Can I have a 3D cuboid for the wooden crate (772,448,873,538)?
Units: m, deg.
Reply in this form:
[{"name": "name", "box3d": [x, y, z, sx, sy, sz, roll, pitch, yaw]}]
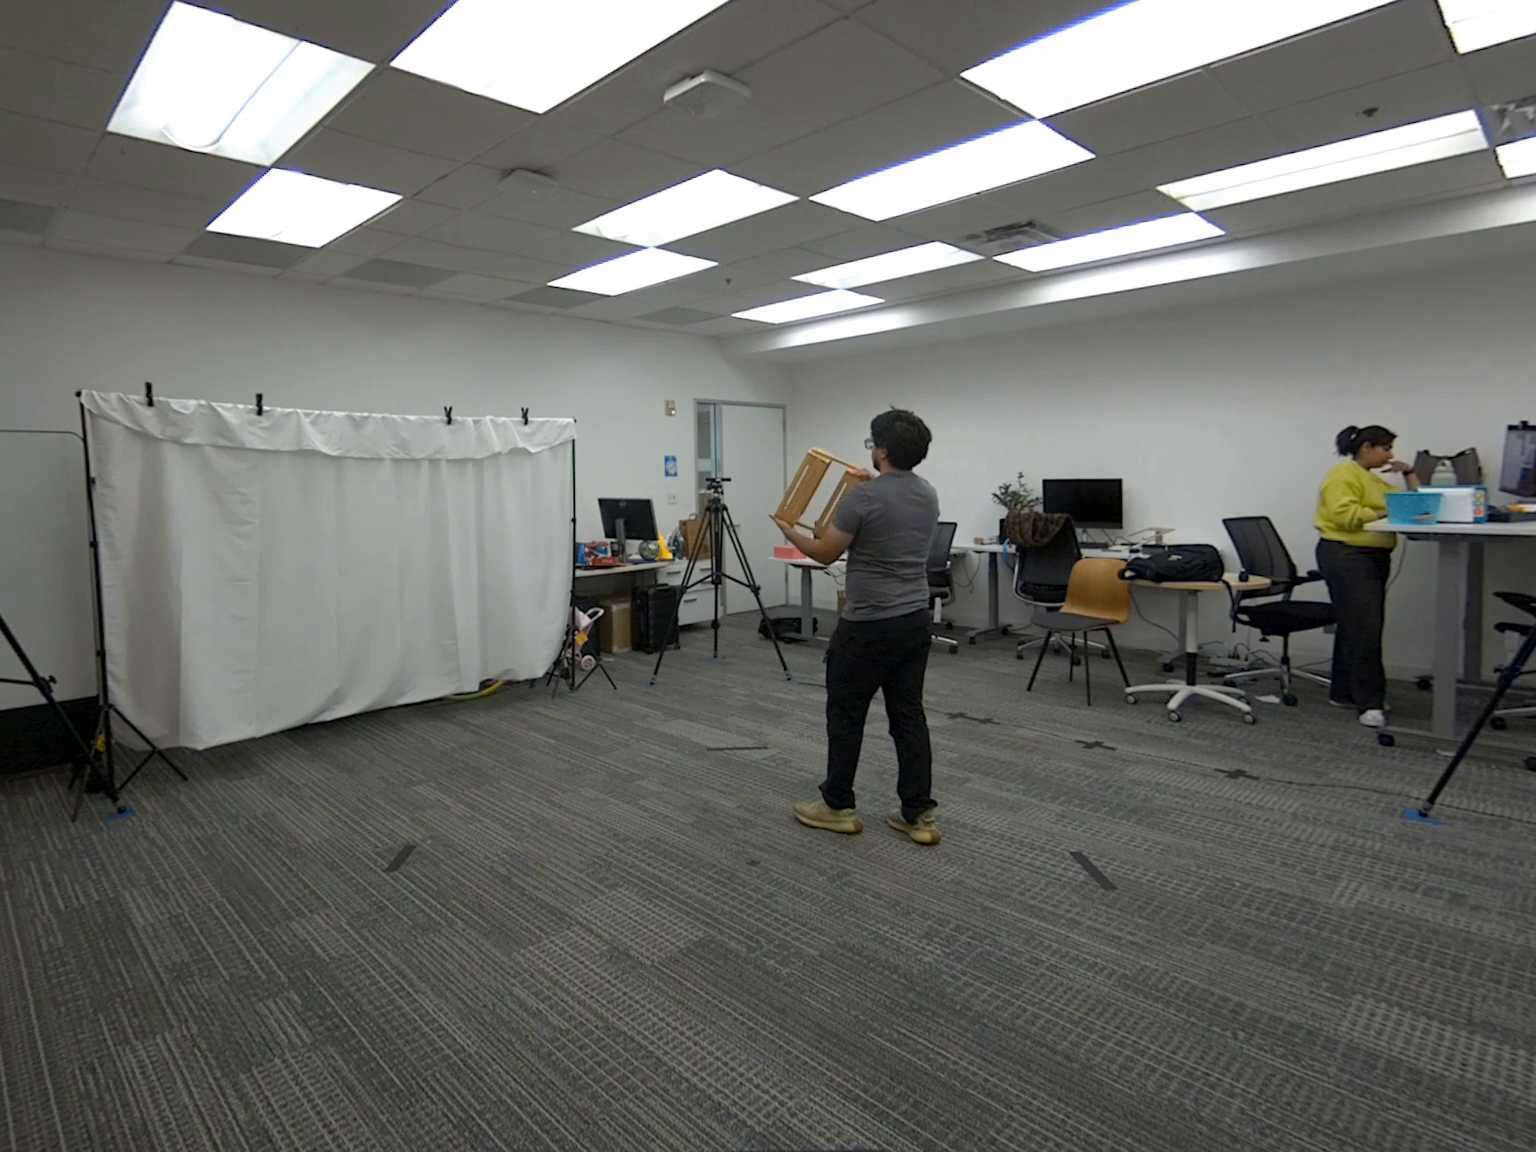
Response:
[{"name": "wooden crate", "box3d": [0.240, -0.353, 3.594, 0.276, 0.322, 0.301, 29, 20, 6]}]
